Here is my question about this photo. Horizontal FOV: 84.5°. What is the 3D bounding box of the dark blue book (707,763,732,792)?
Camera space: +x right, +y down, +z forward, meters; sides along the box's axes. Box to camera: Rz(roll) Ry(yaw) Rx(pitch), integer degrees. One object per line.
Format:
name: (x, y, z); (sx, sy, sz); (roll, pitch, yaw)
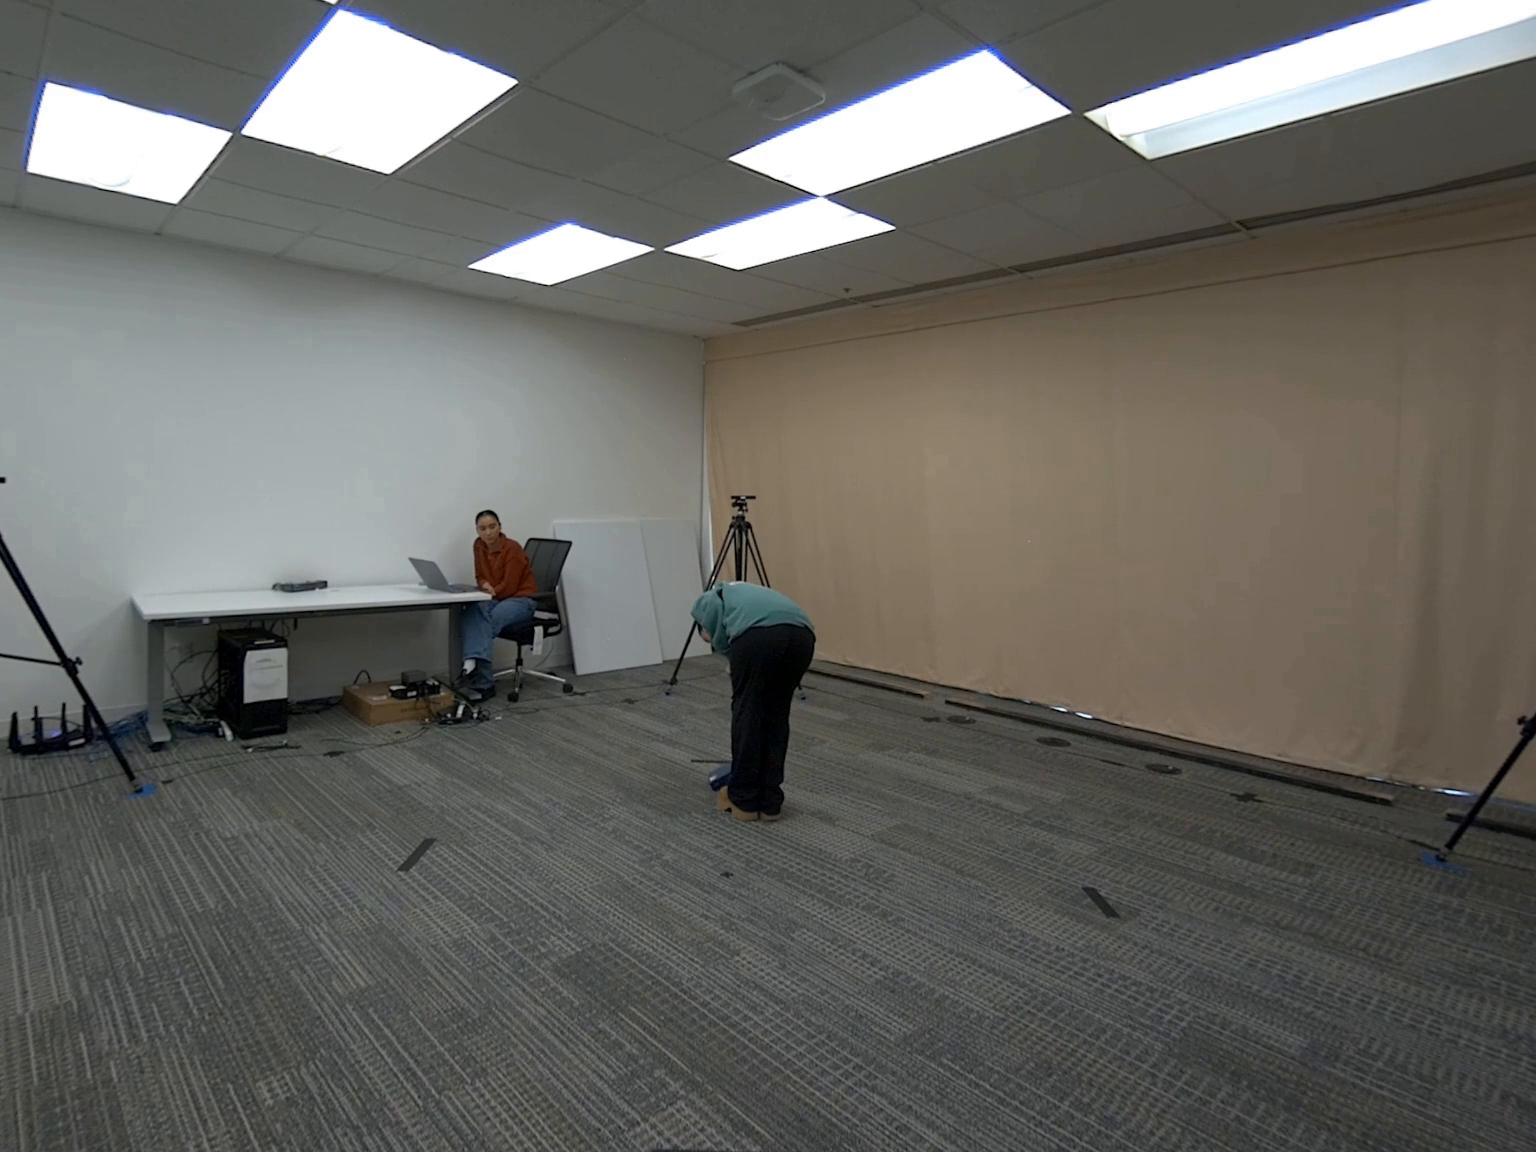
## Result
dark blue book: (-0.184, 0.936, 4.083); (0.245, 0.045, 0.164); (-28, 5, -2)
